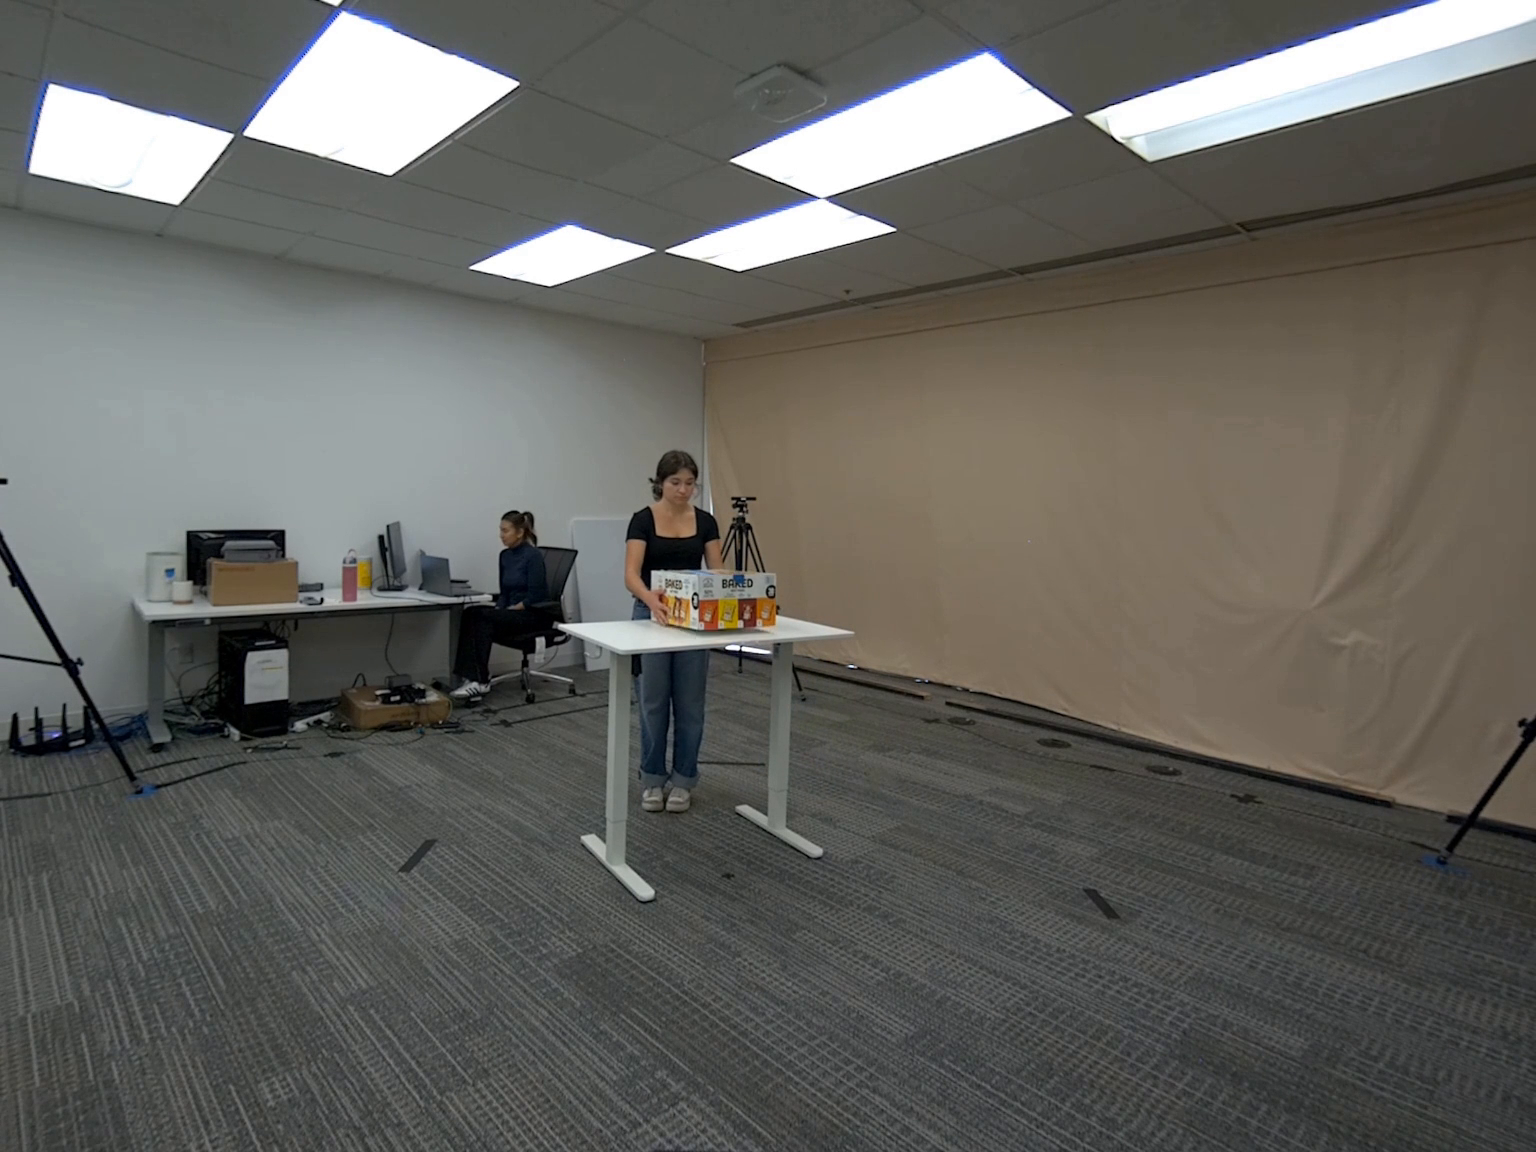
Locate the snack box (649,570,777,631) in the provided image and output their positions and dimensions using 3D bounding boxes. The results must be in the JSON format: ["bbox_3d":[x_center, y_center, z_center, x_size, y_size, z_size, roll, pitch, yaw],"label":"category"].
[{"bbox_3d":[-0.228,0.084,3.316,0.333,0.205,0.414,0,3,-32],"label":"snack box"}]
